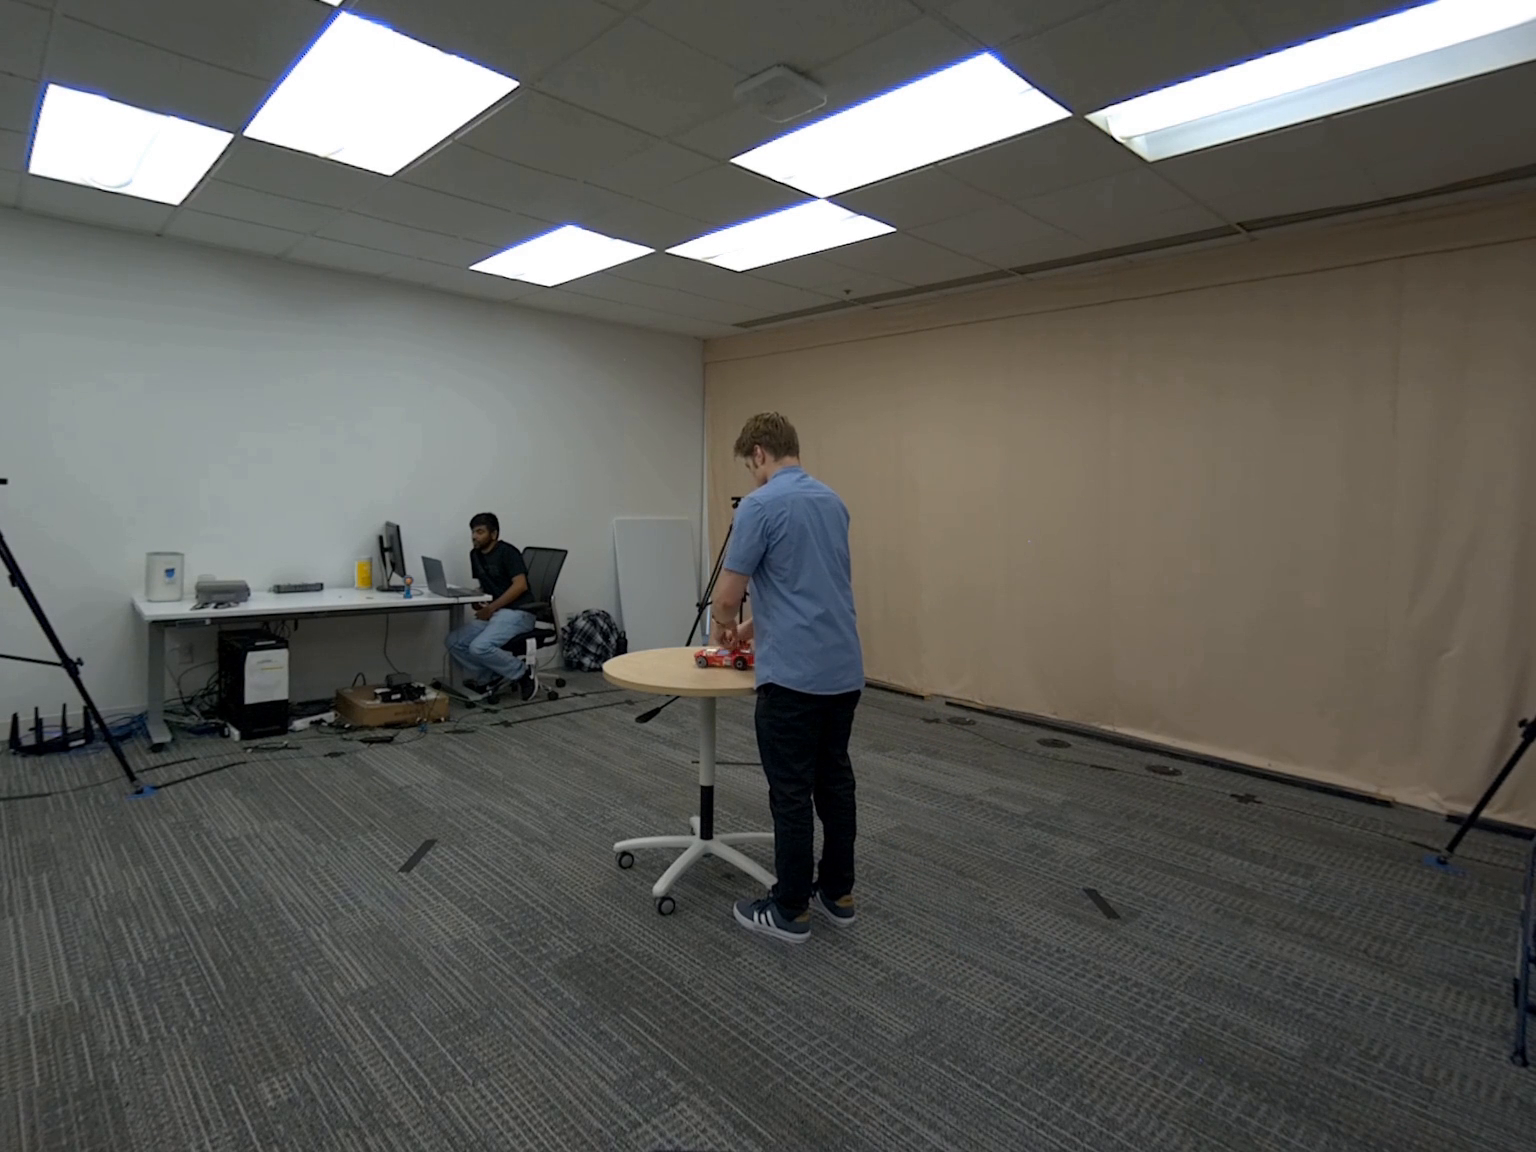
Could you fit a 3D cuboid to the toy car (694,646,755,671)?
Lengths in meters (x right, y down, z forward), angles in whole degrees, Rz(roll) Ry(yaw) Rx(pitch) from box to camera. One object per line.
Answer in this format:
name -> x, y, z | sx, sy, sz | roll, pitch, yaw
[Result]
toy car -> -0.142, 0.297, 3.037 | 0.257, 0.083, 0.129 | -9, 2, 13
